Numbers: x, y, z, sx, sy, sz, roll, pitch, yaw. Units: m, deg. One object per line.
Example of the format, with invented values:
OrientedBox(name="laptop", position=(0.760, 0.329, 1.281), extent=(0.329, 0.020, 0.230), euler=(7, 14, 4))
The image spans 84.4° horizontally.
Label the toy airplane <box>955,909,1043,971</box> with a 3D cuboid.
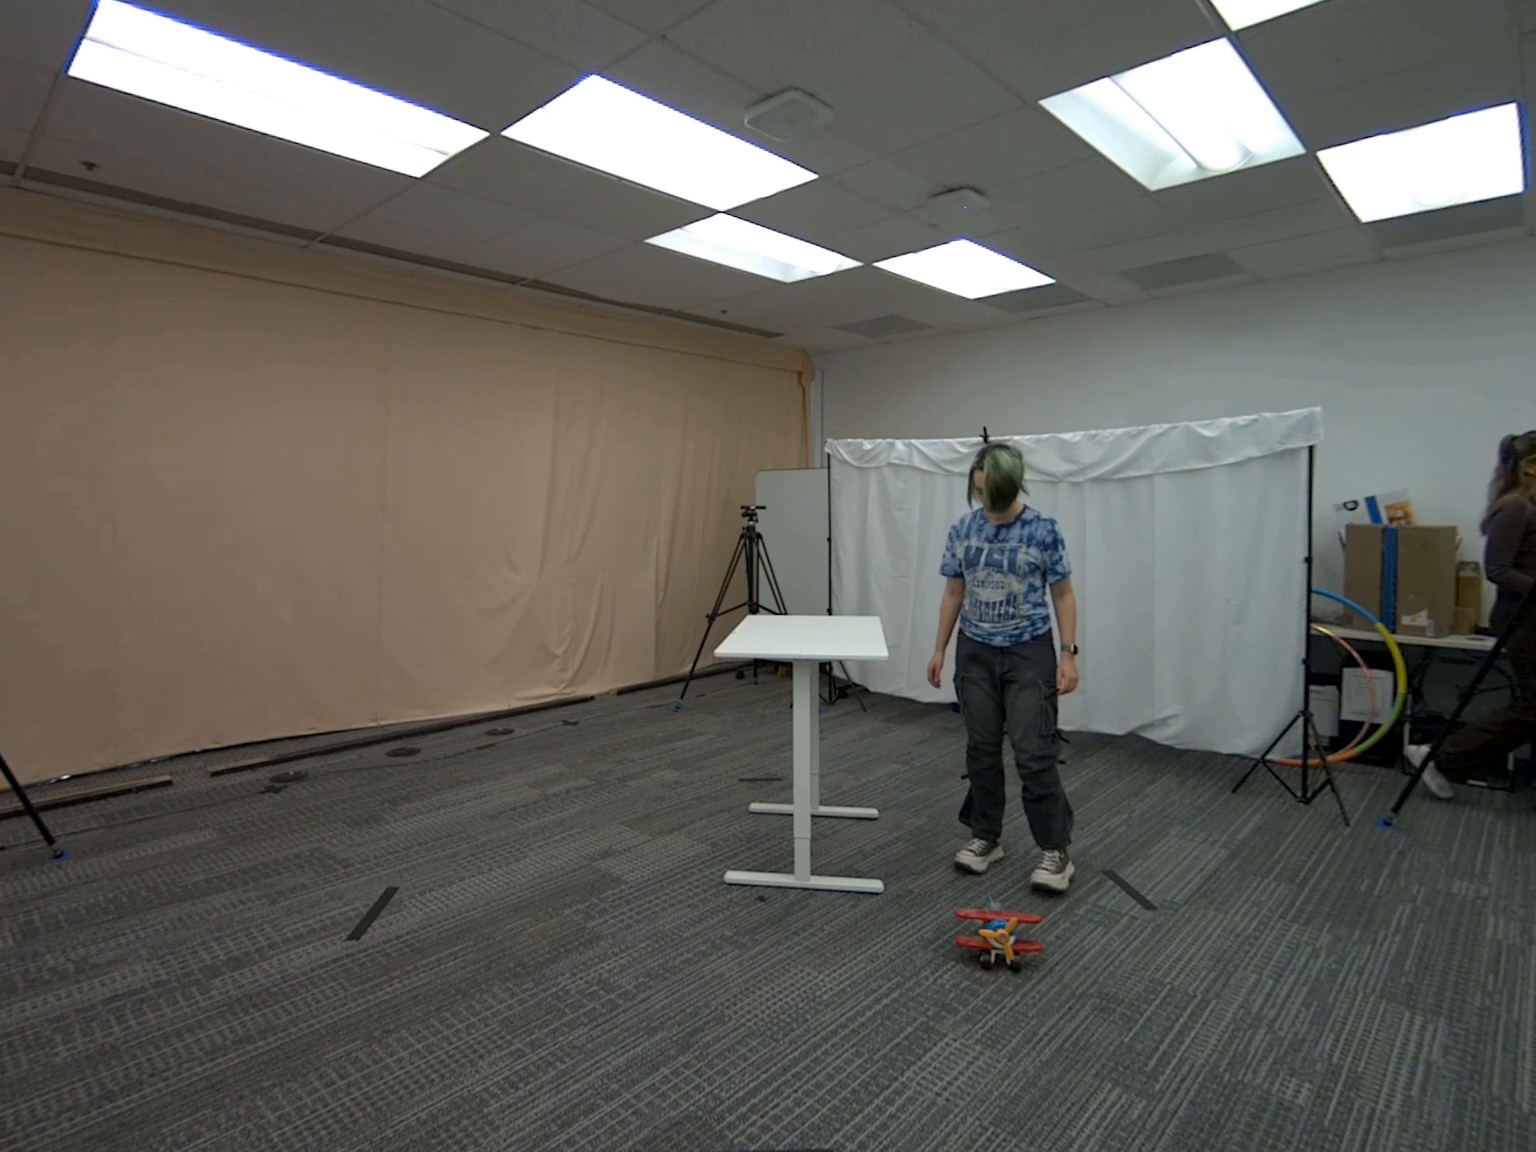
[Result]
OrientedBox(name="toy airplane", position=(0.694, 1.100, 2.606), extent=(0.246, 0.156, 0.265), euler=(-2, 5, -21))
